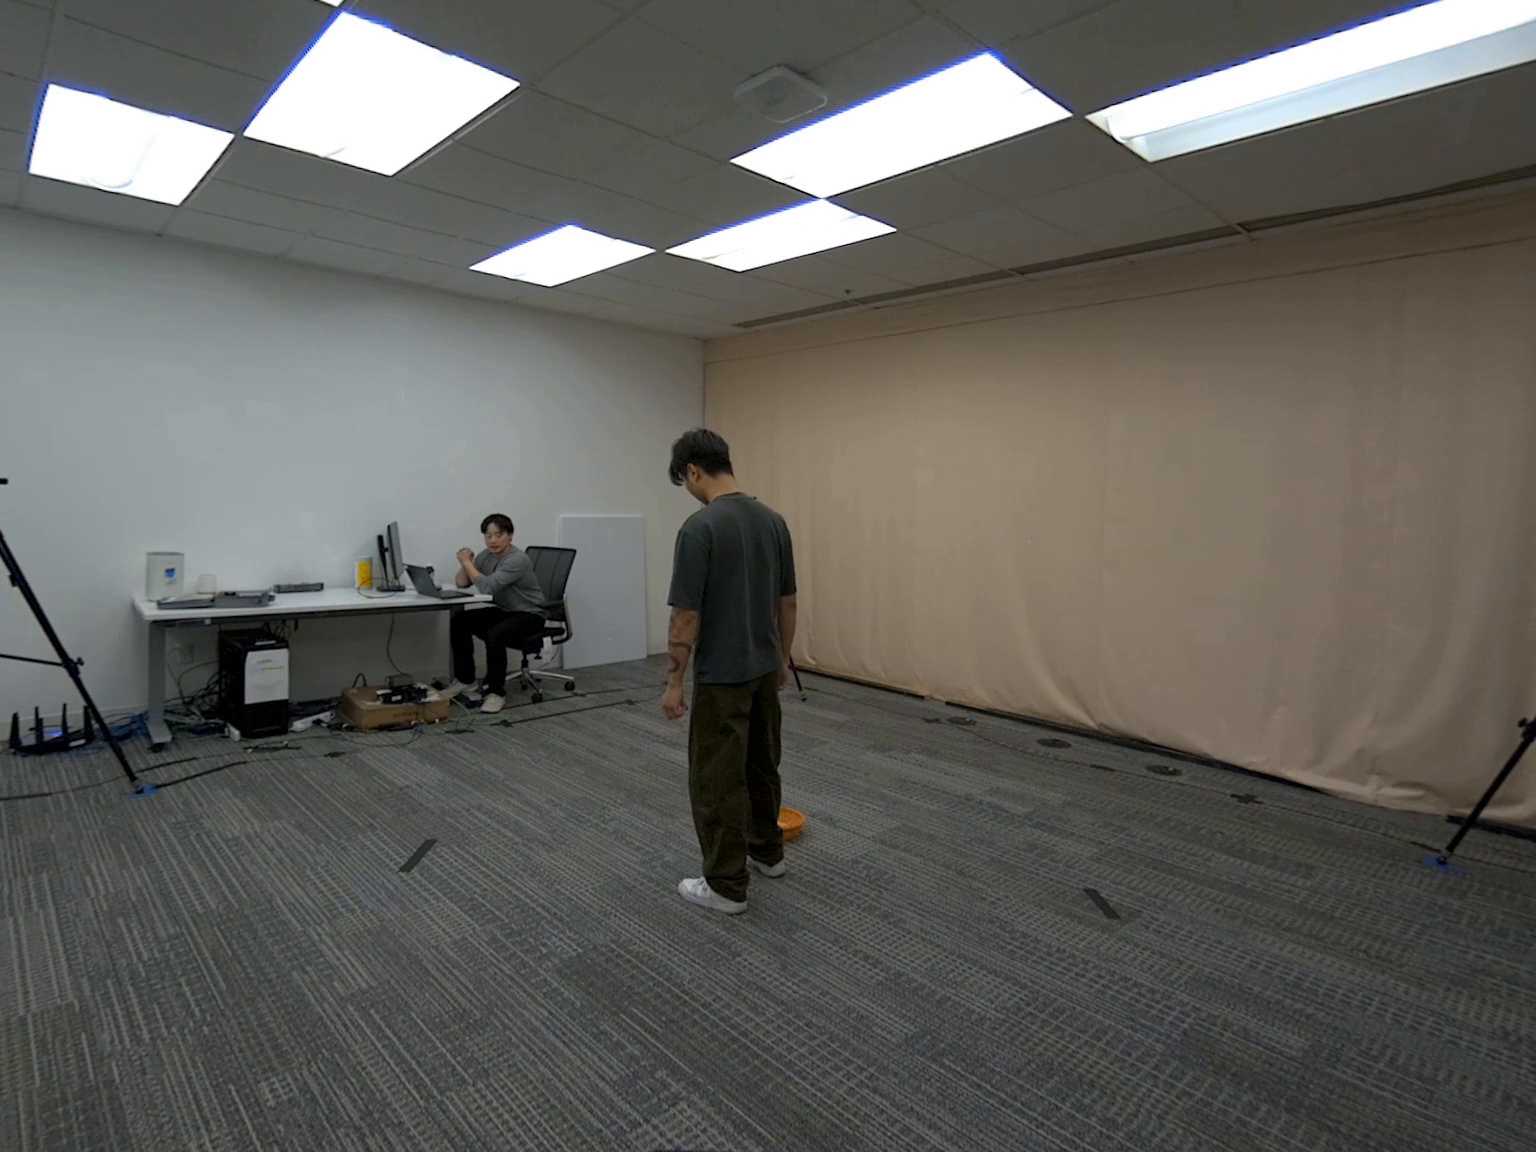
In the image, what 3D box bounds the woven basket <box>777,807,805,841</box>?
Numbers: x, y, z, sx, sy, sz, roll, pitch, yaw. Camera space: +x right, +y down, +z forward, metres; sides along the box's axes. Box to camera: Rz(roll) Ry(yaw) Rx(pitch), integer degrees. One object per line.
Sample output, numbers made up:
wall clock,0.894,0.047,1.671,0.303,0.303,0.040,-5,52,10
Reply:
woven basket,-0.023,1.036,3.537,0.357,0.073,0.248,4,5,26
